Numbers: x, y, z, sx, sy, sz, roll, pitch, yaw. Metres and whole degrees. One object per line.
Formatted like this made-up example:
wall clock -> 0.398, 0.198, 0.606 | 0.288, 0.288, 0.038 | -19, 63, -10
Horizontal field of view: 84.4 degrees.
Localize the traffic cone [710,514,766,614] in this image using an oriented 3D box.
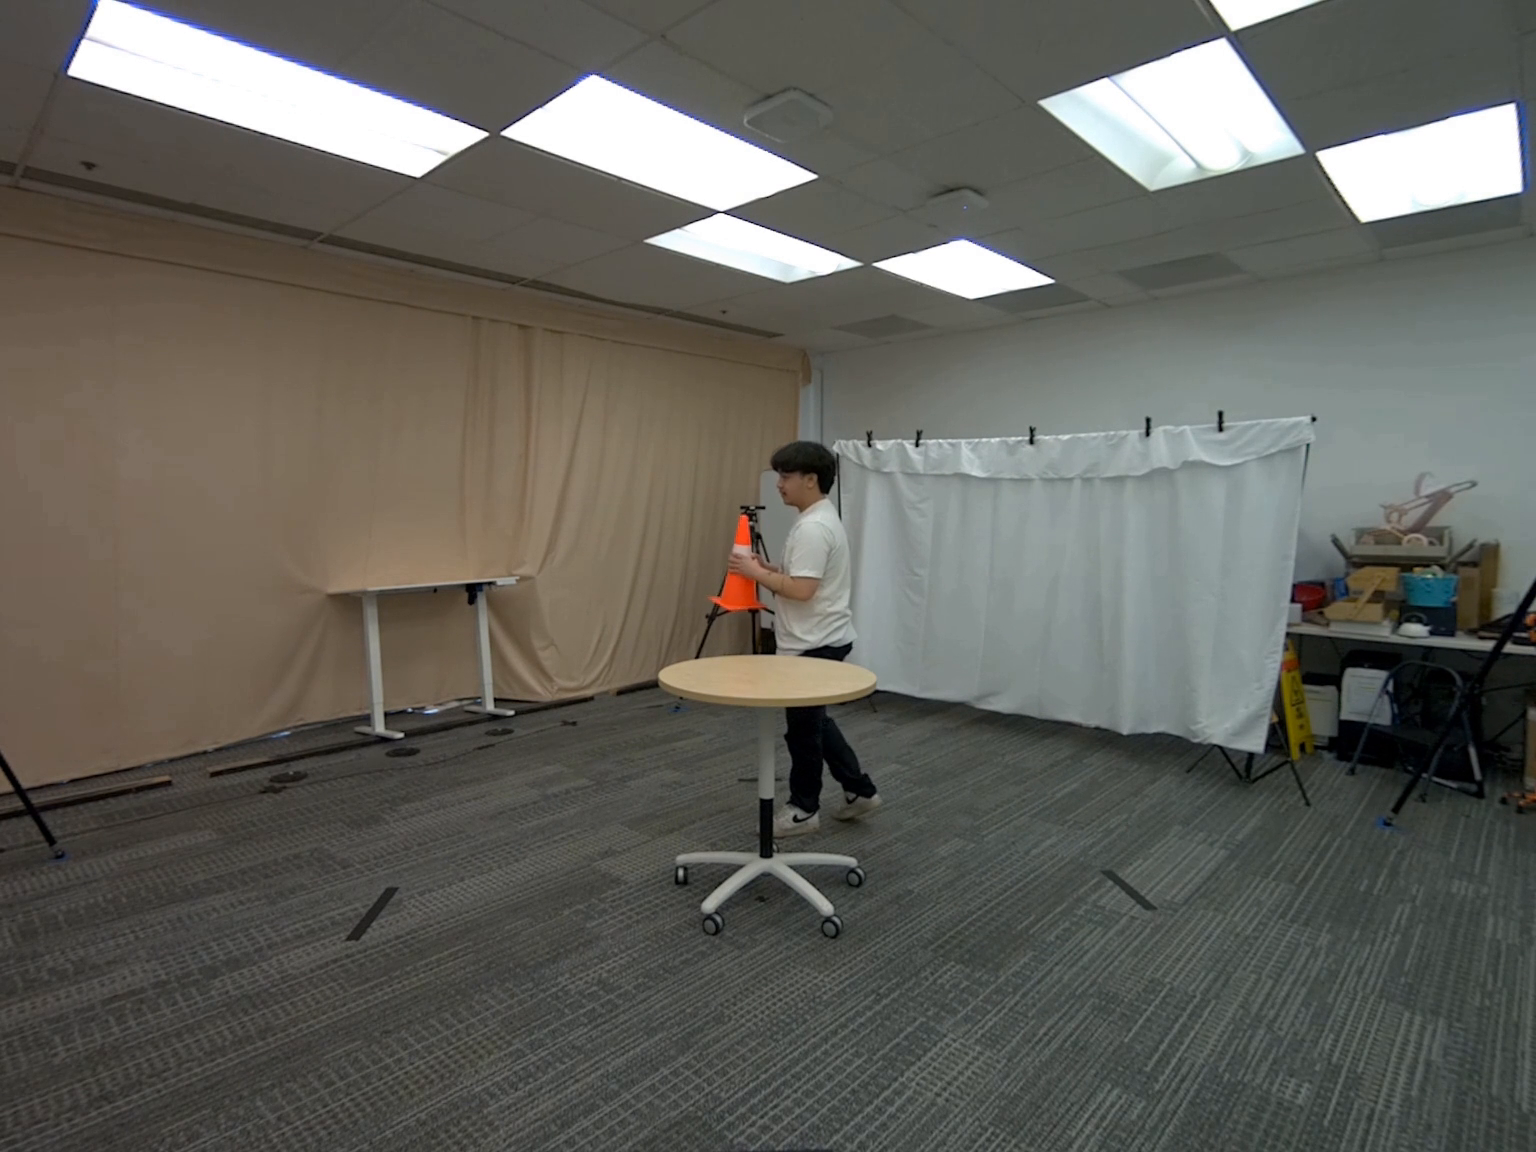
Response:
traffic cone -> -0.107, -0.064, 3.628 | 0.208, 0.382, 0.201 | 5, 8, 13
